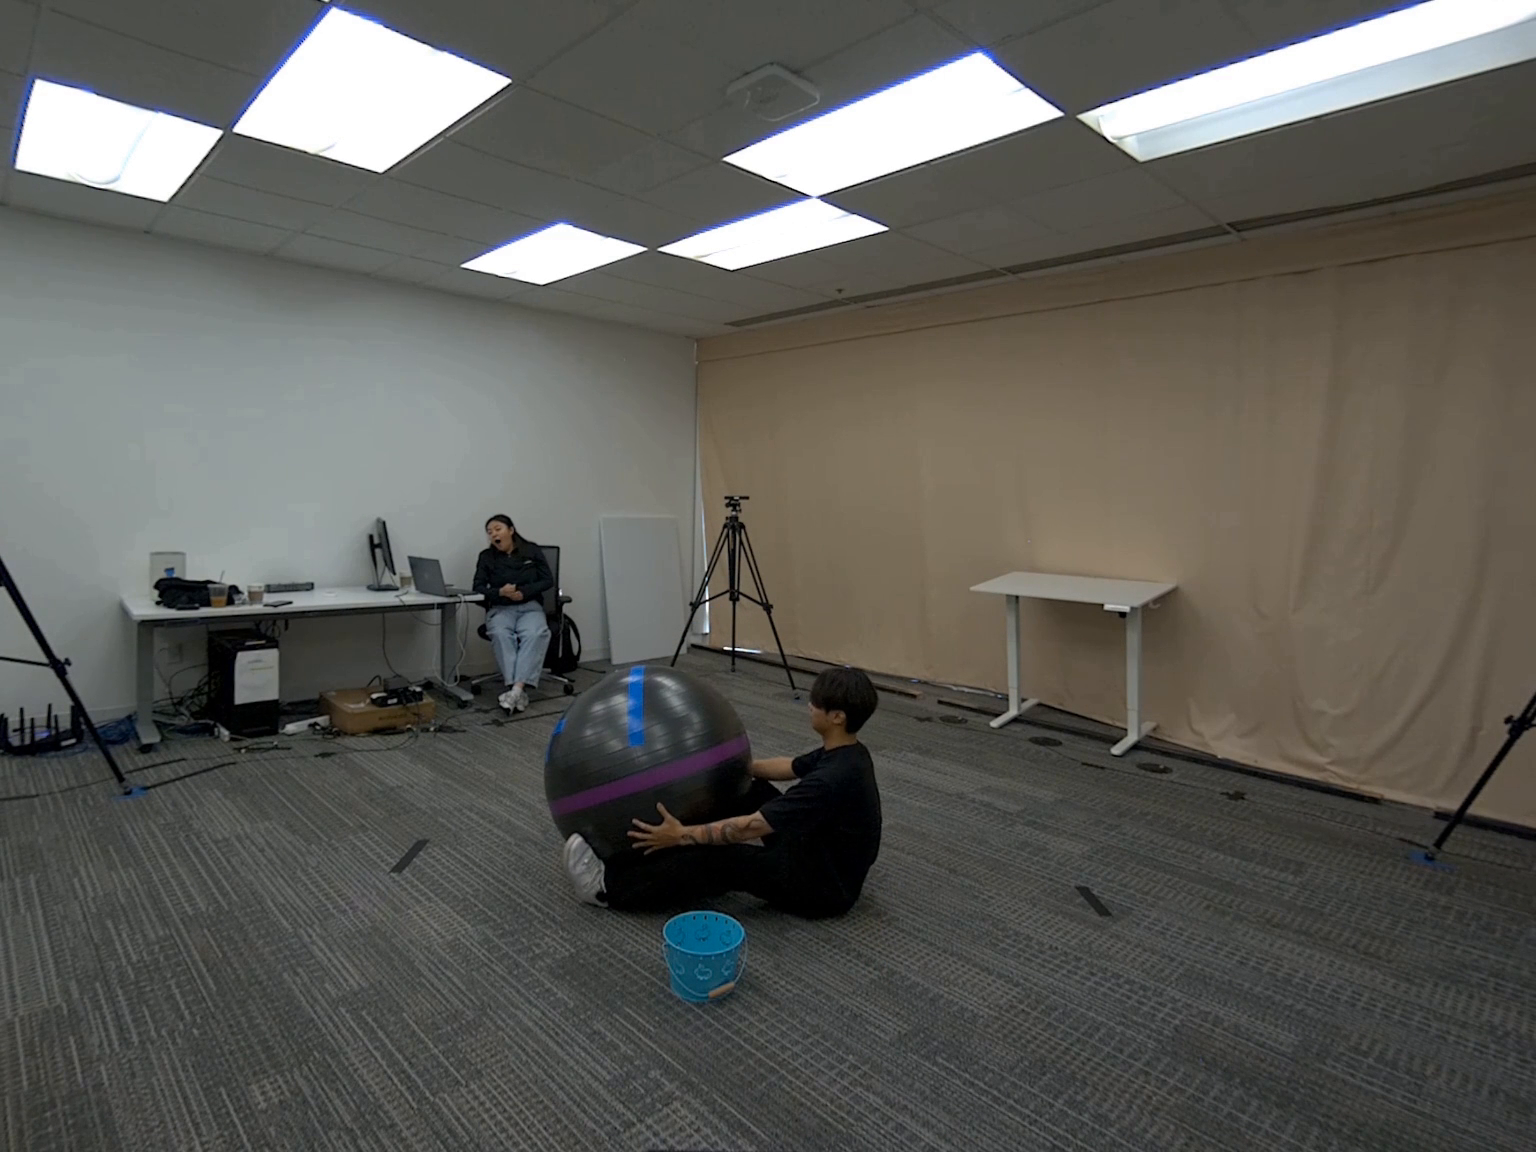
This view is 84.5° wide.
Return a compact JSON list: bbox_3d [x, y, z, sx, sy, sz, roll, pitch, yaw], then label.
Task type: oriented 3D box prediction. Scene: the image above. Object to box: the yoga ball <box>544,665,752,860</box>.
[{"bbox_3d":[-0.451,0.725,3.116,0.757,0.756,0.761,1,4,-1],"label":"yoga ball"}]
